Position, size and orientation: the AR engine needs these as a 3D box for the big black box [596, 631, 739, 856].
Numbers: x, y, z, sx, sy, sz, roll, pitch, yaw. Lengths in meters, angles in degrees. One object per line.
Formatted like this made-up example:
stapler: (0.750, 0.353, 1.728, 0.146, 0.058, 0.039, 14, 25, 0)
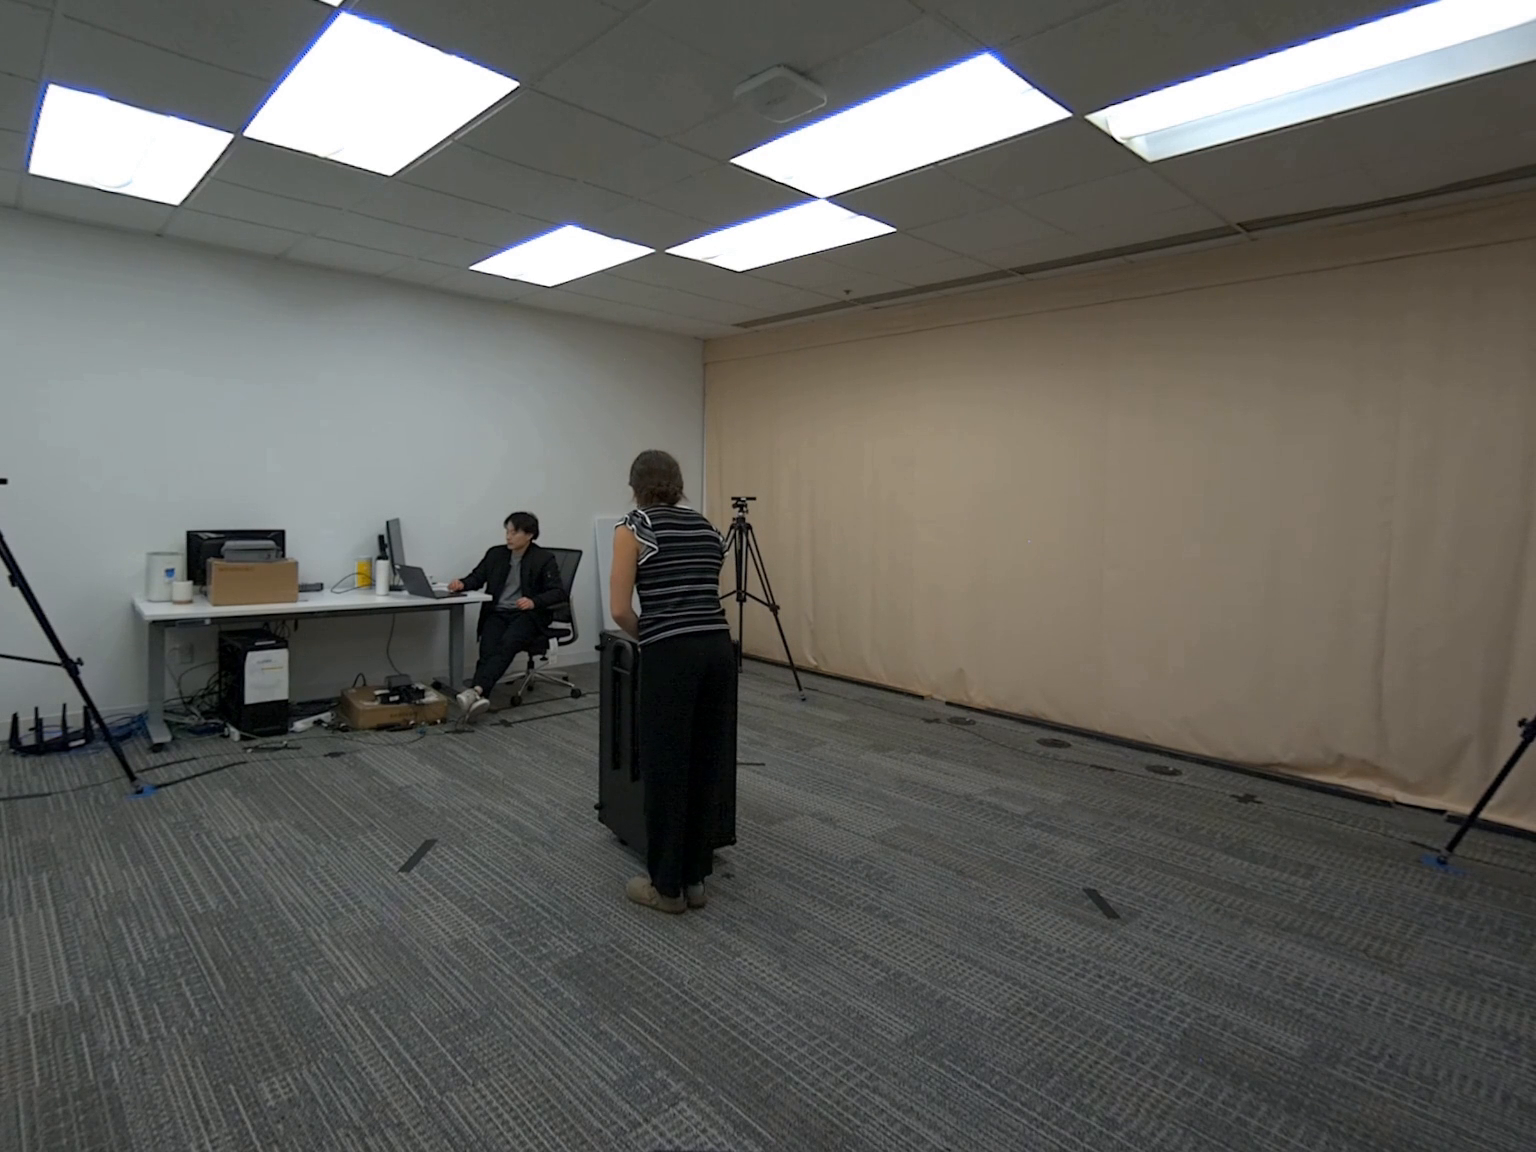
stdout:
big black box: (-0.412, 0.663, 3.301, 0.388, 0.859, 0.534, -2, 6, -36)
